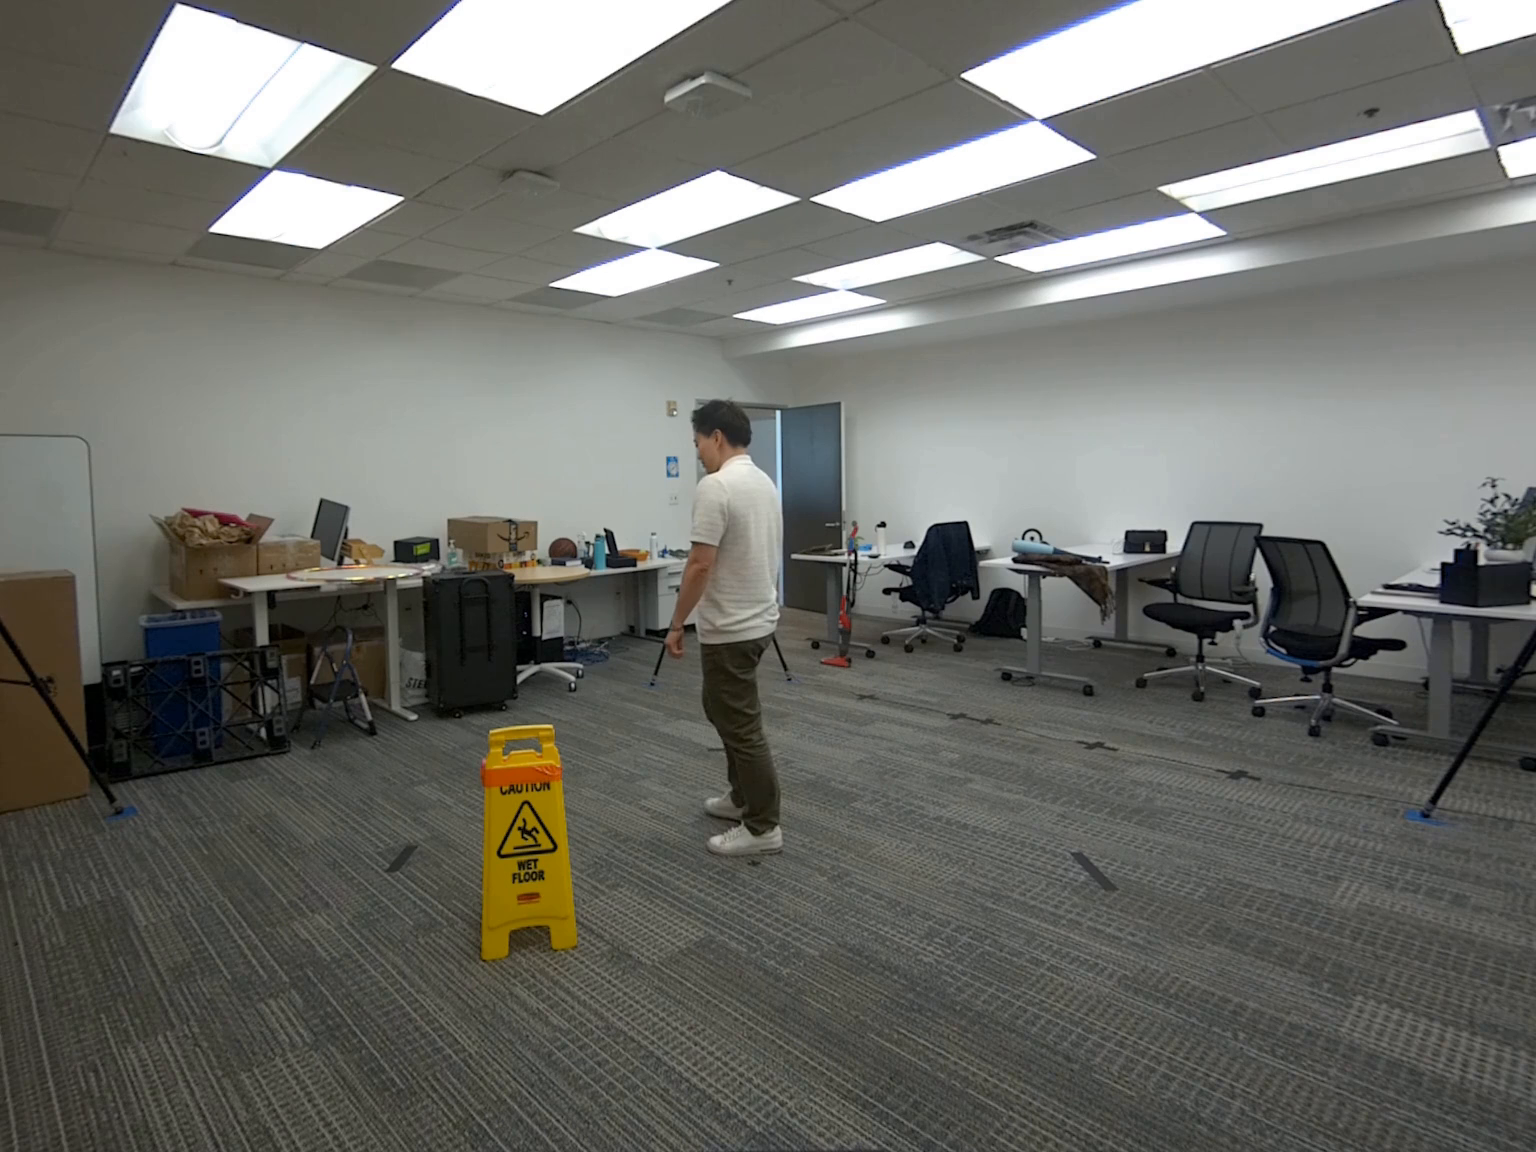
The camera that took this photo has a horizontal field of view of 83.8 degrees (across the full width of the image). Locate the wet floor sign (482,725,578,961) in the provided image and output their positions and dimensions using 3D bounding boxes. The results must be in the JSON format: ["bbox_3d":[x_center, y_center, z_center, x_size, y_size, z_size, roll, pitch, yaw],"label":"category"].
[{"bbox_3d":[-0.754,0.786,2.658,0.278,0.643,0.295,-2,4,-15],"label":"wet floor sign"}]
